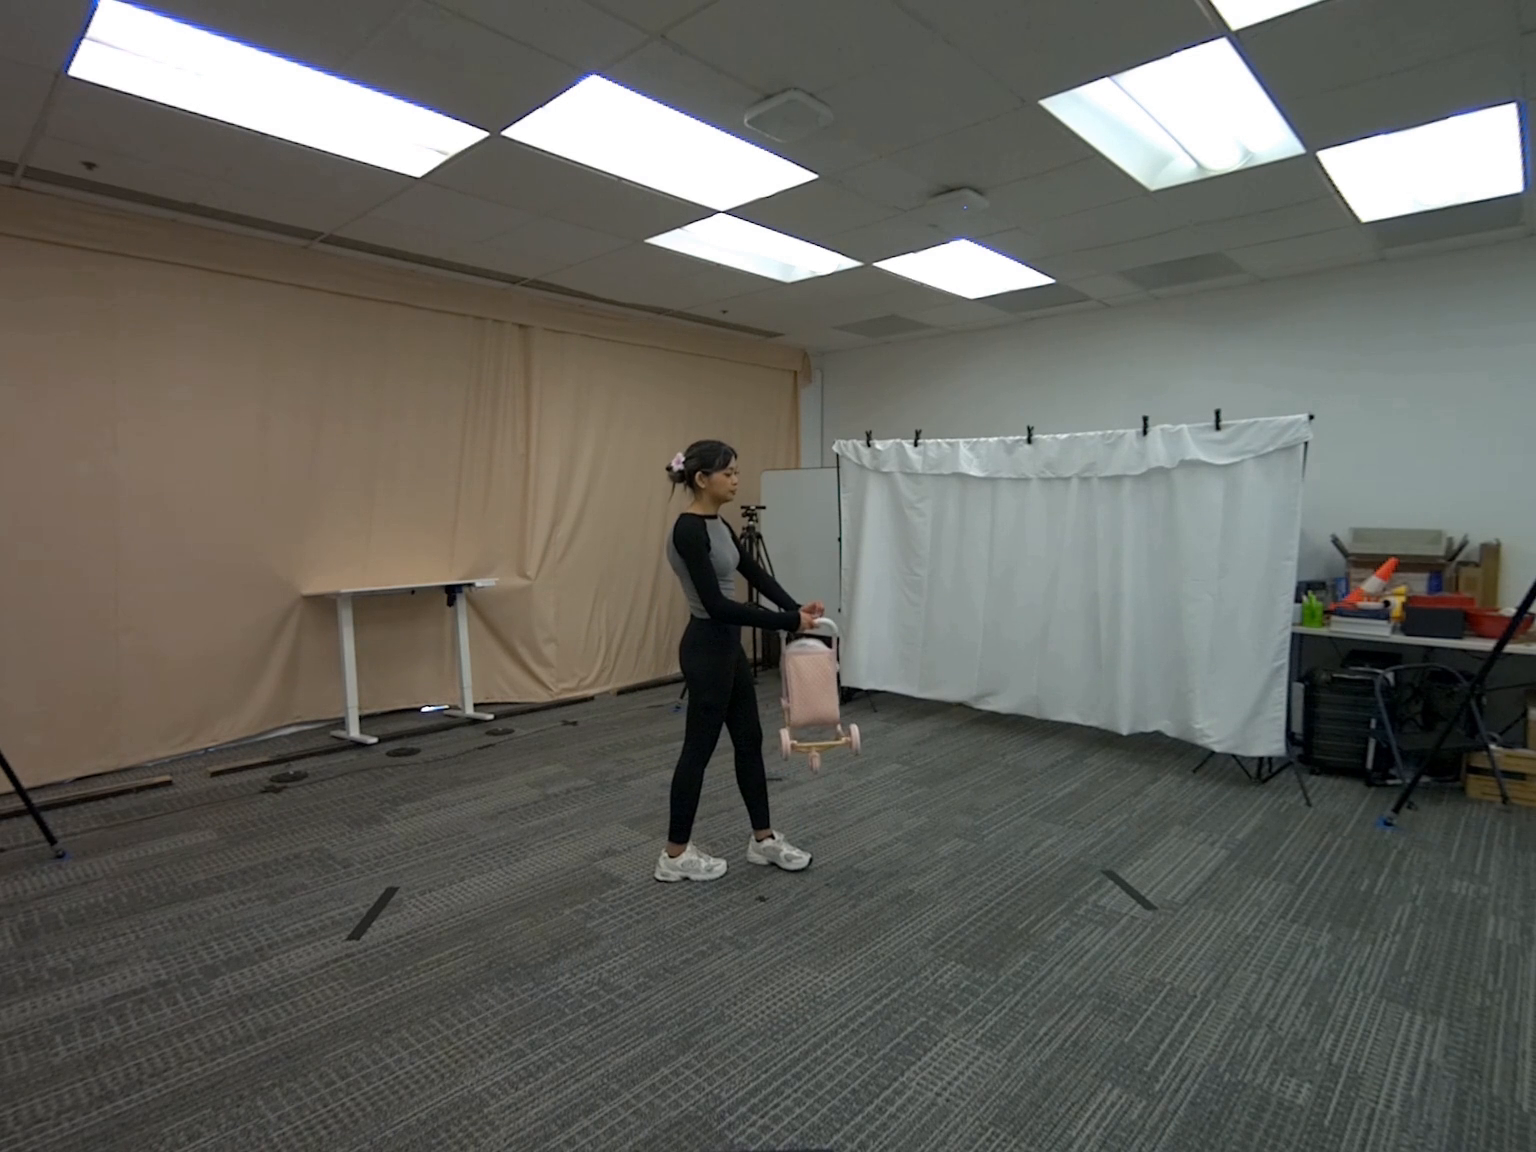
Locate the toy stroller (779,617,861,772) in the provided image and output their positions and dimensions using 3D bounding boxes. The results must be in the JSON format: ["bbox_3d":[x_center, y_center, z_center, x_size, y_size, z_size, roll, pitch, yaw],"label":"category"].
[{"bbox_3d":[0.170,0.453,3.101,0.282,0.540,0.337,-6,-13,1],"label":"toy stroller"}]
